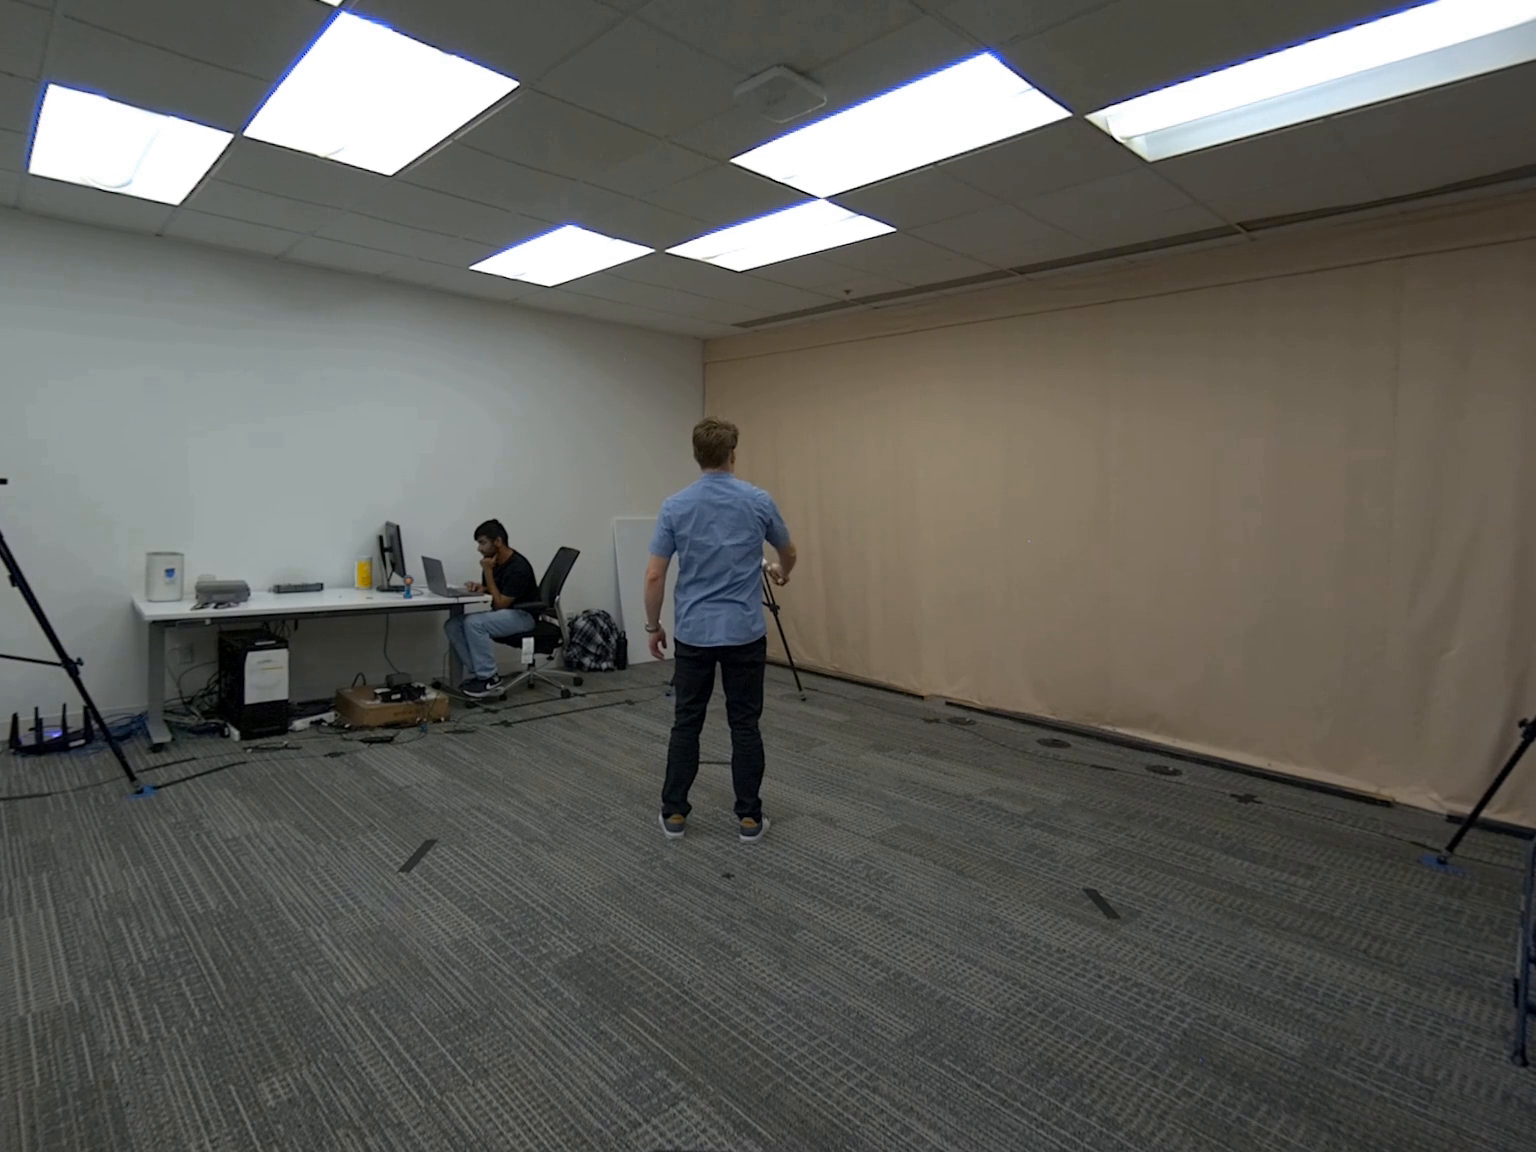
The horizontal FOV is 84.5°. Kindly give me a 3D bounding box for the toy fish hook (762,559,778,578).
[{"bbox_3d":[-0.010,-0.049,4.097,0.218,0.048,0.521,40,6,-32],"label":"toy fish hook"}]
